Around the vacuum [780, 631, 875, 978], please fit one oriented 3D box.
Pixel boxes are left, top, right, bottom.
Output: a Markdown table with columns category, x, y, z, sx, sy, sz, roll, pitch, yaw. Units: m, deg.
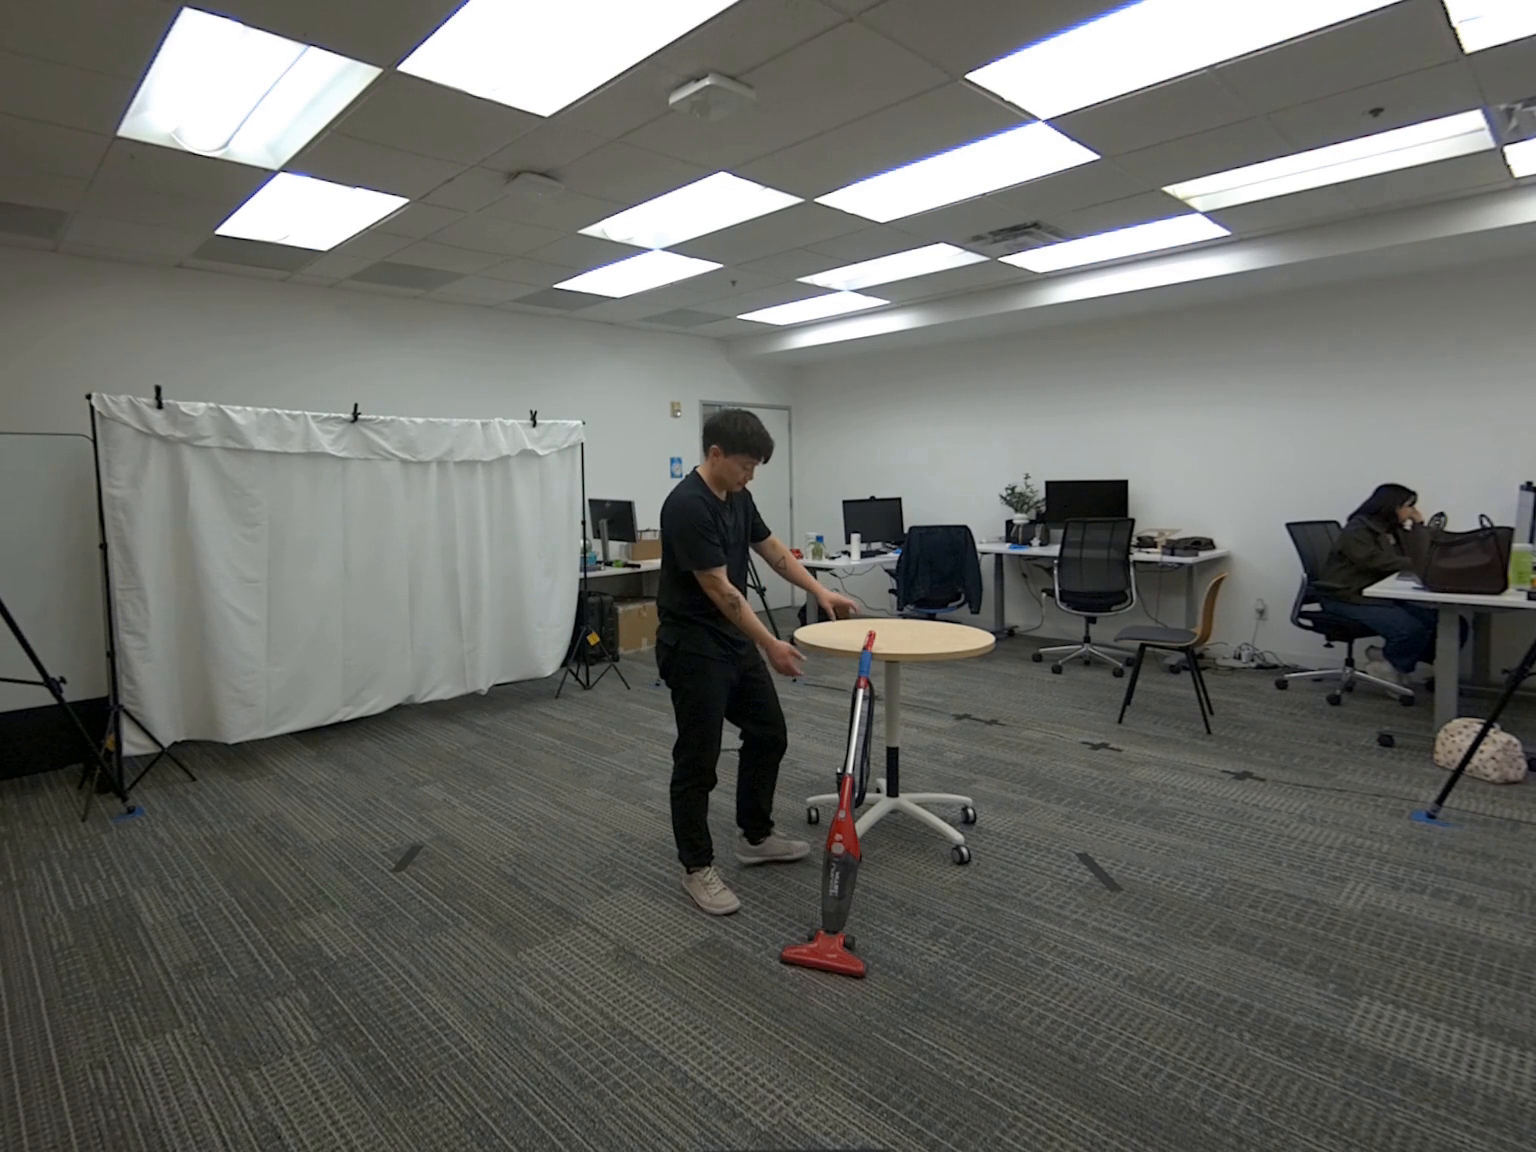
| category | x | y | z | sx | sy | sz | roll | pitch | yaw |
| --- | --- | --- | --- | --- | --- | --- | --- | --- | --- |
| vacuum | 0.275 | 0.663 | 2.747 | 0.258 | 1.067 | 0.139 | 0 | -33 | 21 |
